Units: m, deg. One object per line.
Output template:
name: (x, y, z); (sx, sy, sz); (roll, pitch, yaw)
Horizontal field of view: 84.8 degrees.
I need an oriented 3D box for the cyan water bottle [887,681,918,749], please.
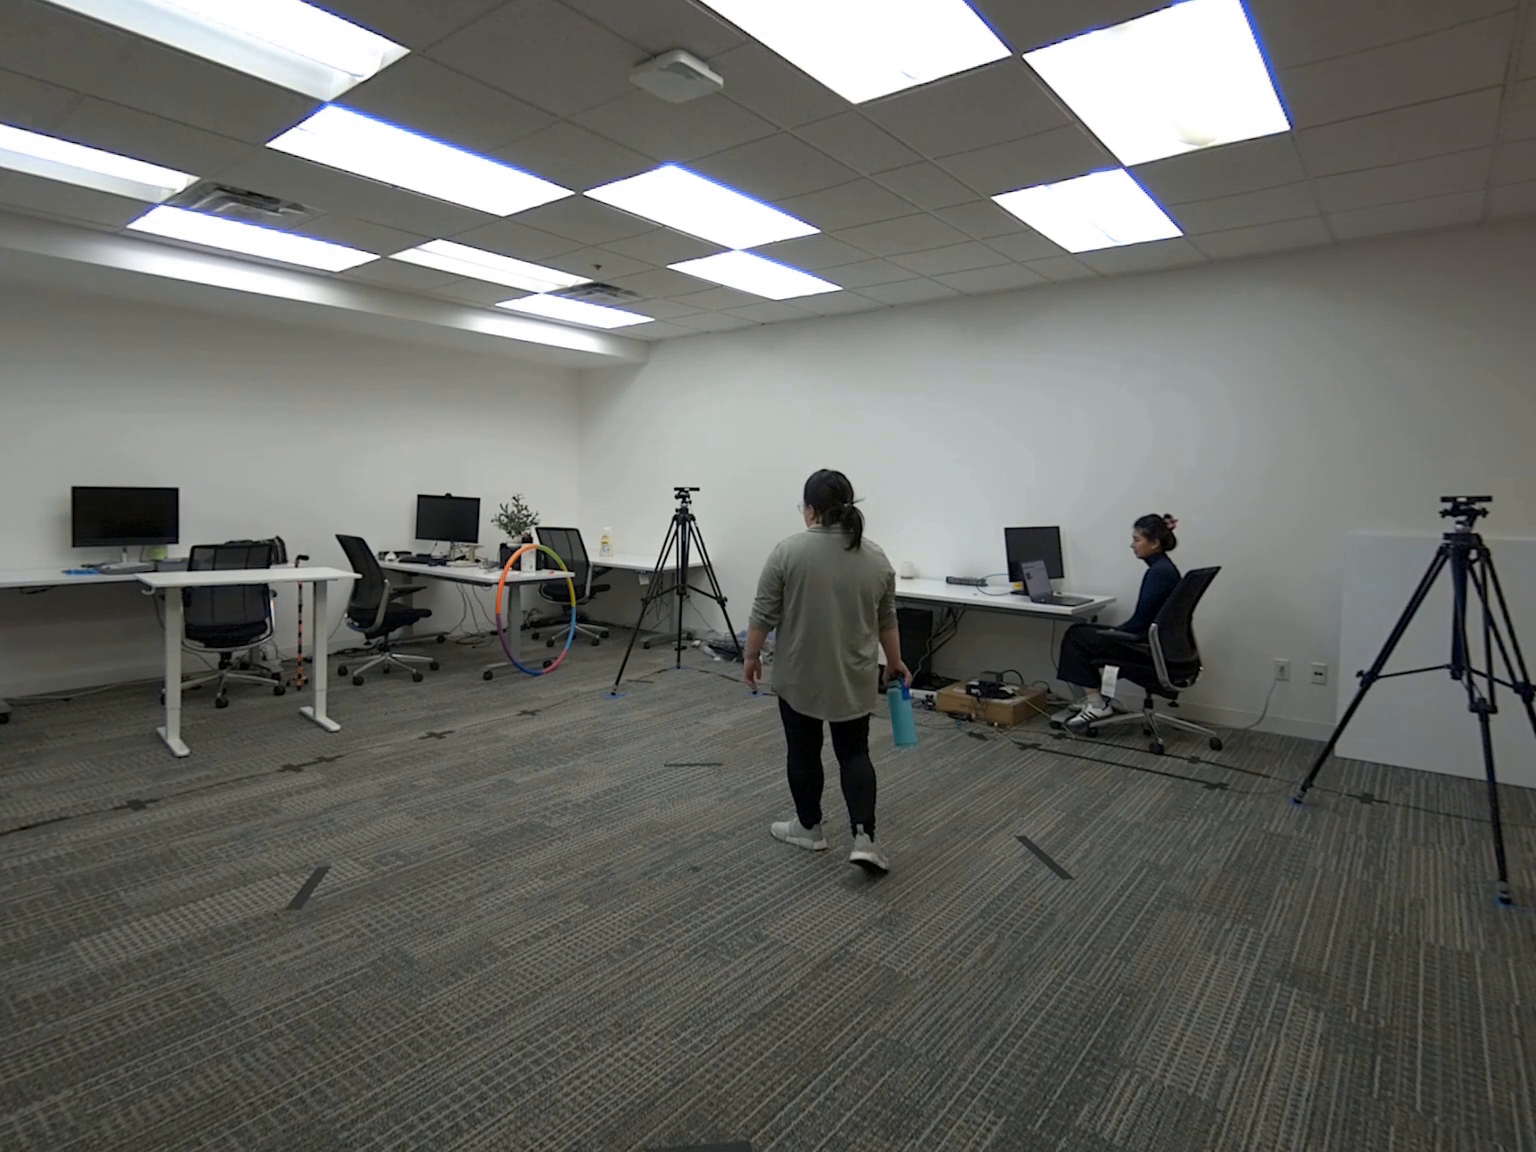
cyan water bottle: (0.511, 0.532, 3.394); (0.092, 0.286, 0.091); (-5, -10, -3)
